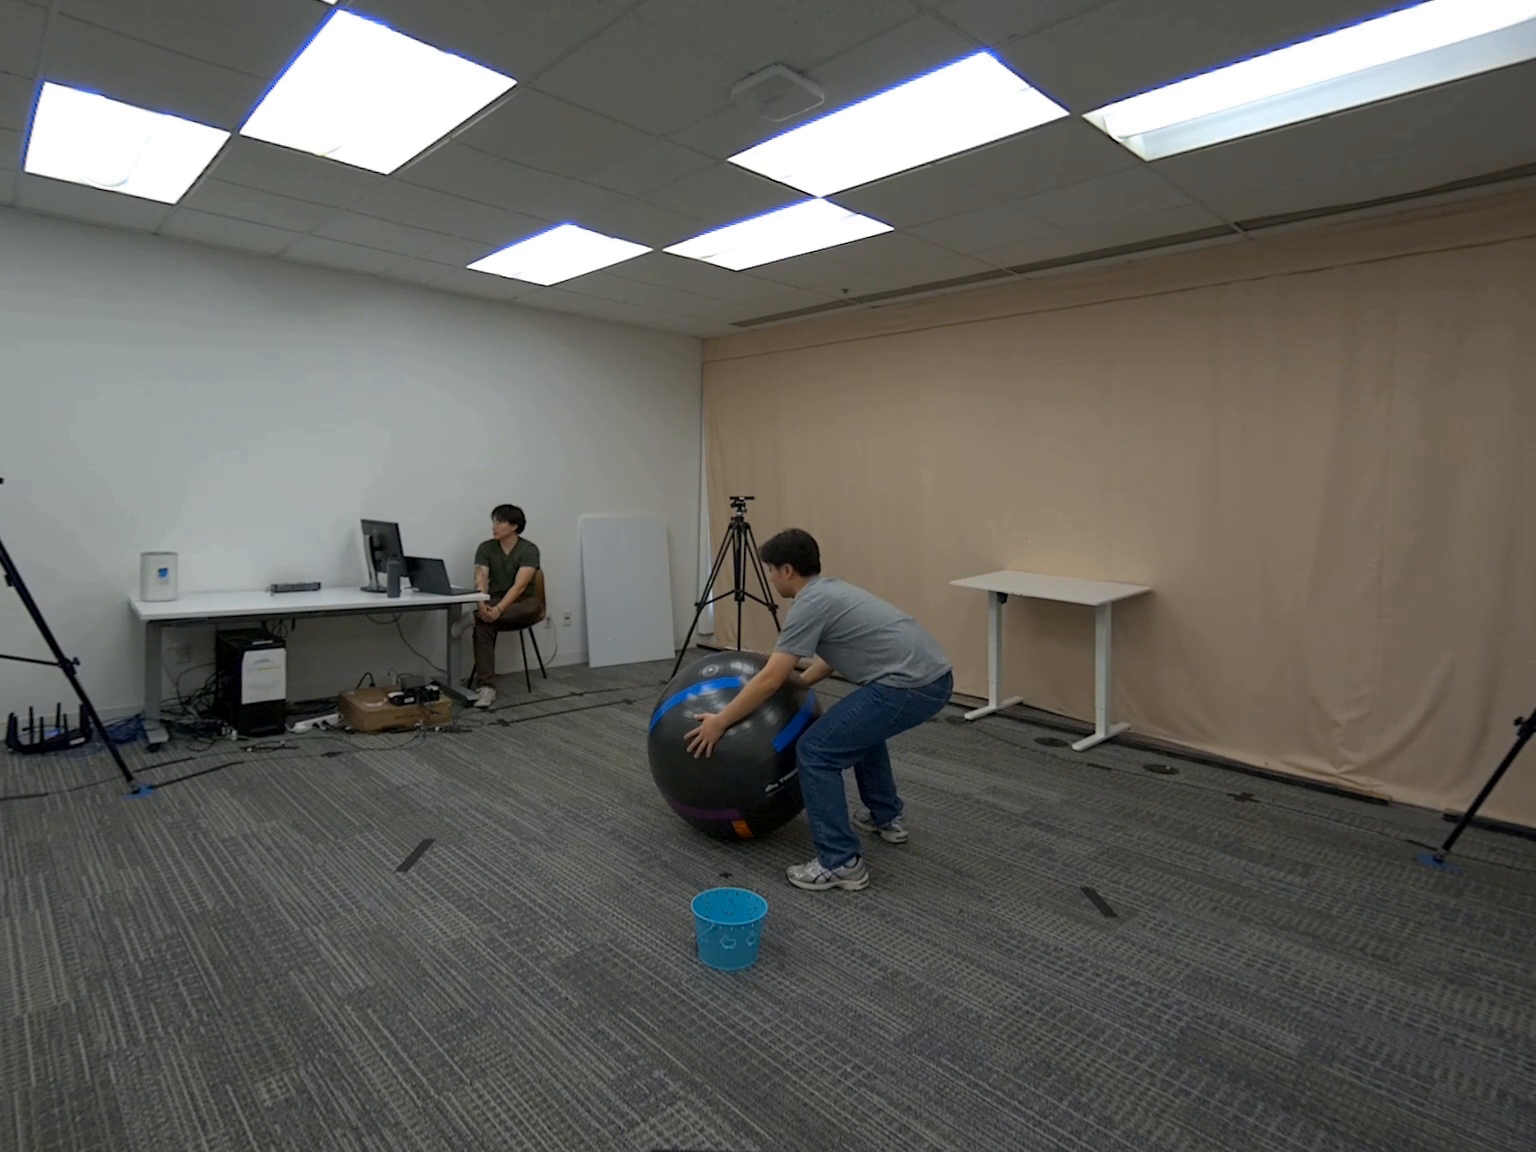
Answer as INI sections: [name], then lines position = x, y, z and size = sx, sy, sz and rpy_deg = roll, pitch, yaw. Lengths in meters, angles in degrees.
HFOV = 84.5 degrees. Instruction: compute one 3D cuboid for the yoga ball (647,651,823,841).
[yoga ball]
position = -0.134, 0.690, 3.519
size = 0.757, 0.756, 0.761
rpy_deg = 1, 4, -1
